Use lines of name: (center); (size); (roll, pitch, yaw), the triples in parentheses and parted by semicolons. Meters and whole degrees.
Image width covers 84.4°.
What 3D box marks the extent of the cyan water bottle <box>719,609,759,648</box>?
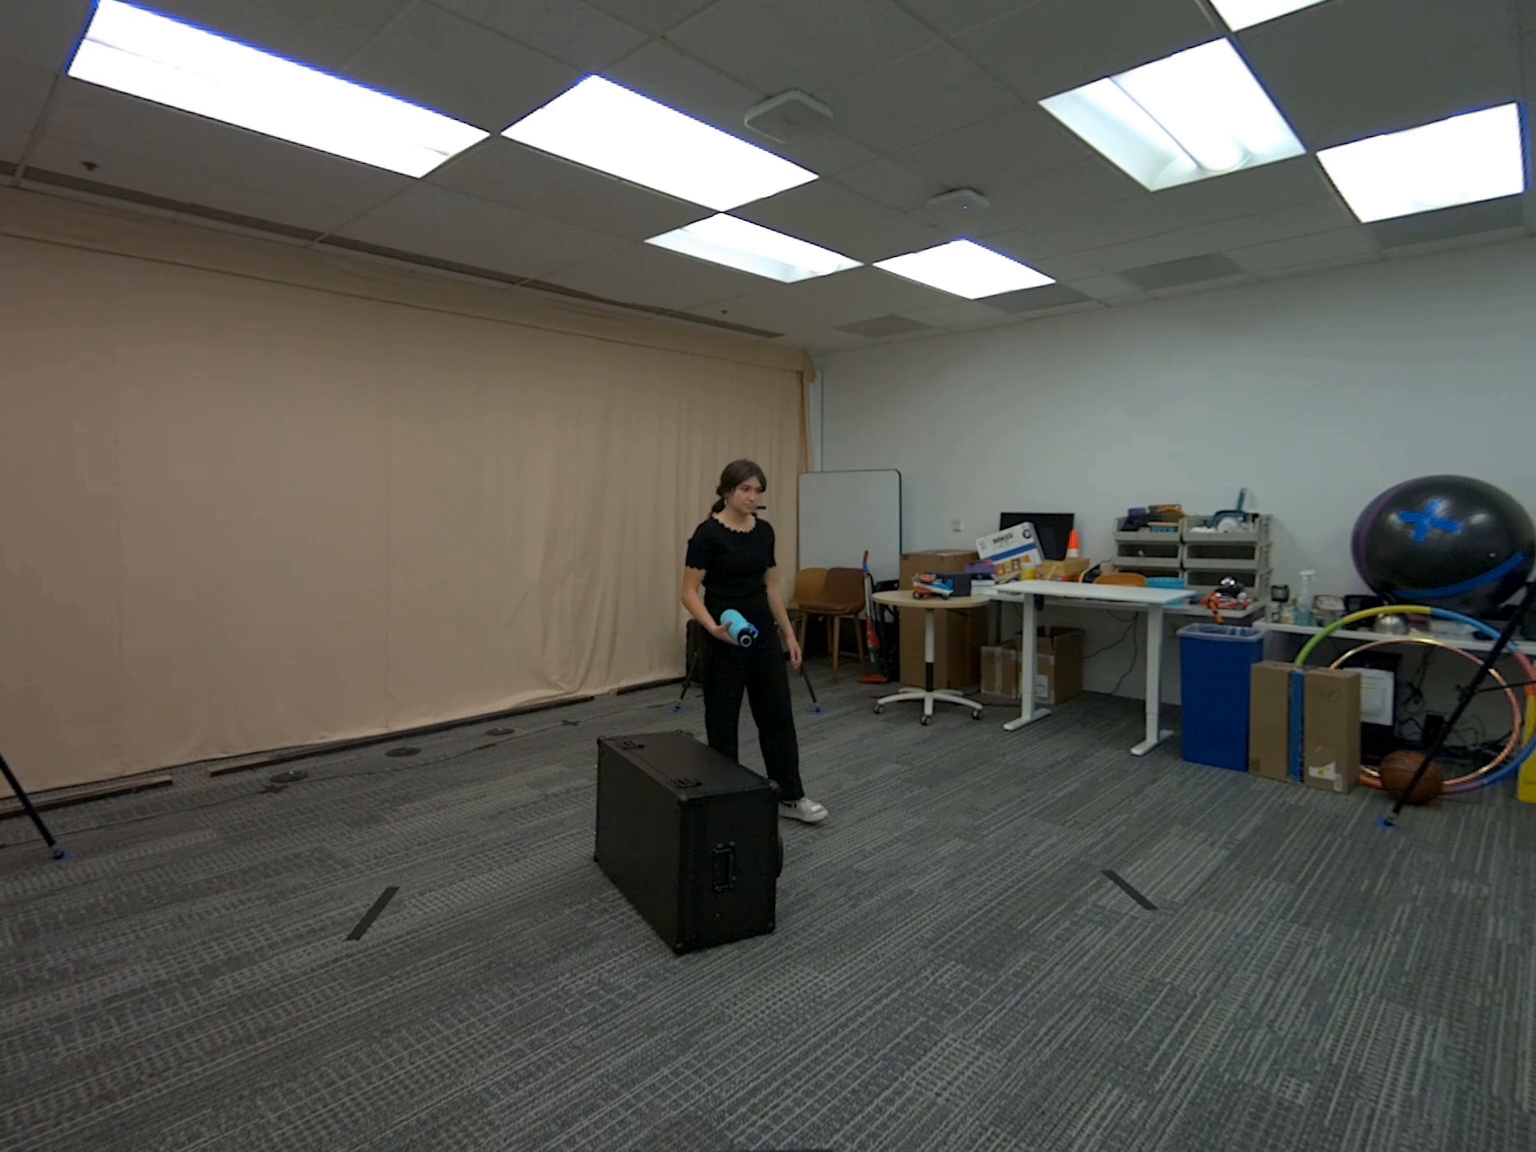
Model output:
cyan water bottle: (-0.100, 0.217, 3.418); (0.091, 0.092, 0.289); (-1, 11, -14)
